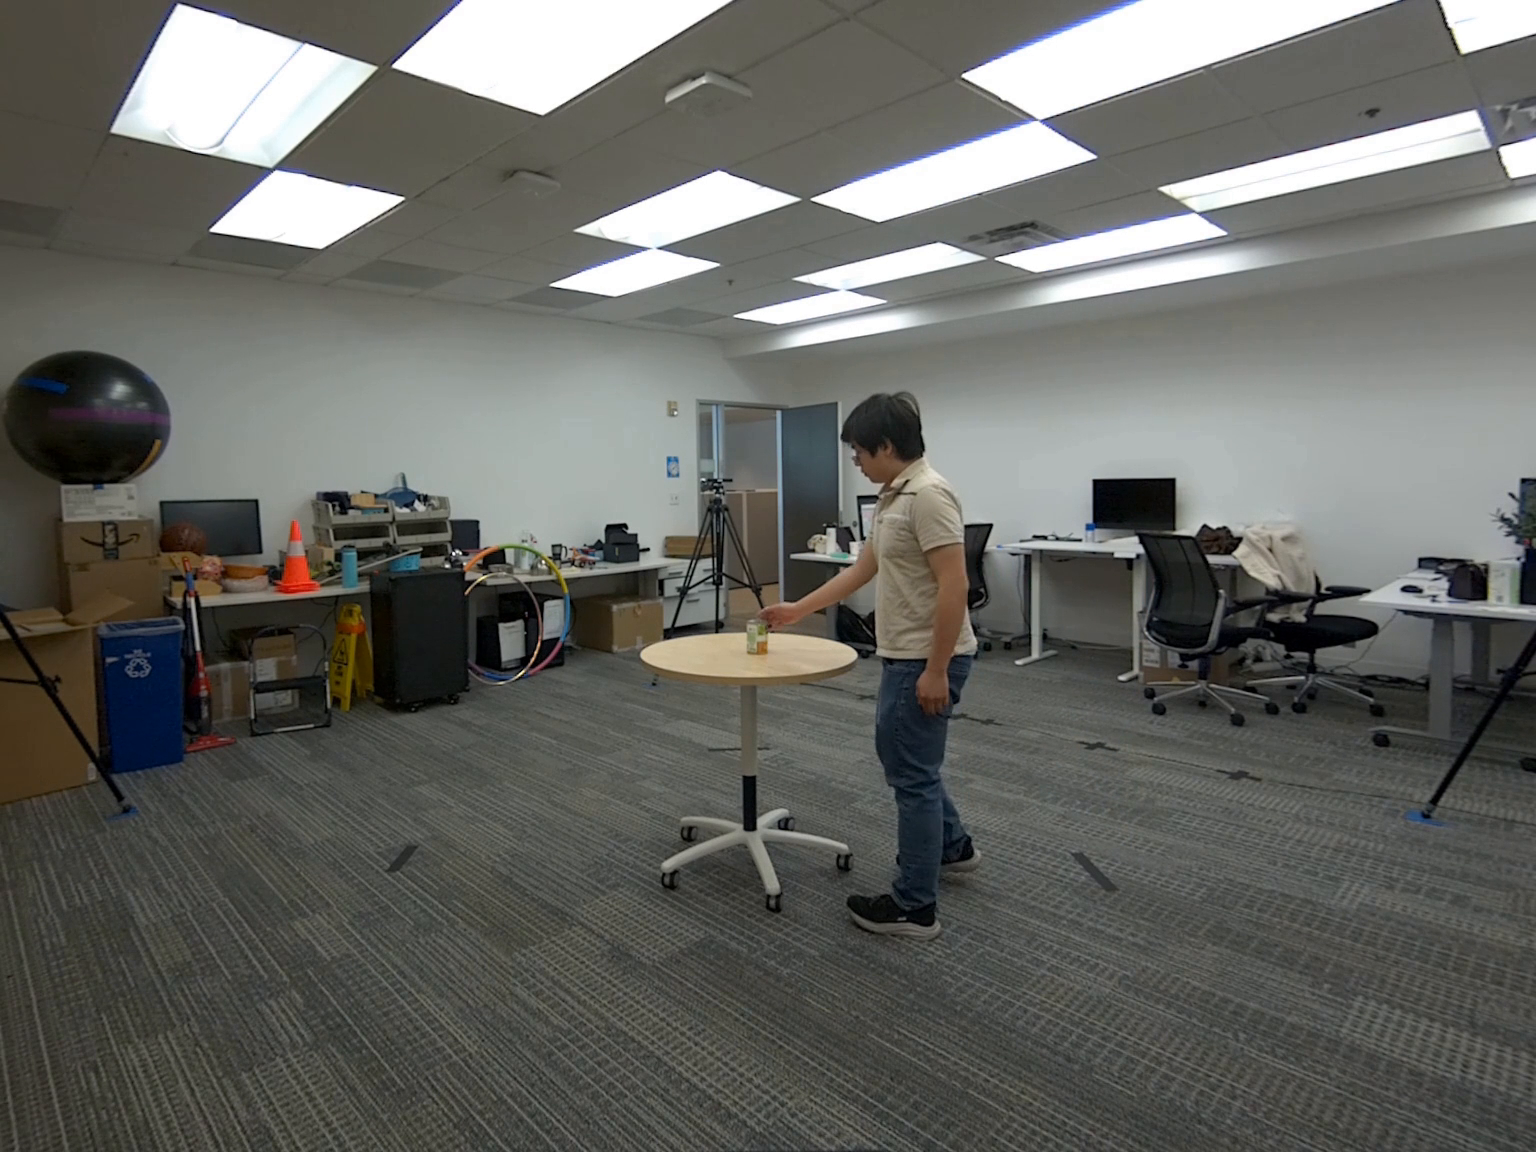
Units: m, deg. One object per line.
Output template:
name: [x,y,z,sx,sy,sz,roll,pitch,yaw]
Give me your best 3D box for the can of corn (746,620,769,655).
can of corn: [-0.037,0.216,3.011,0.074,0.110,0.074,2,4,-2]
